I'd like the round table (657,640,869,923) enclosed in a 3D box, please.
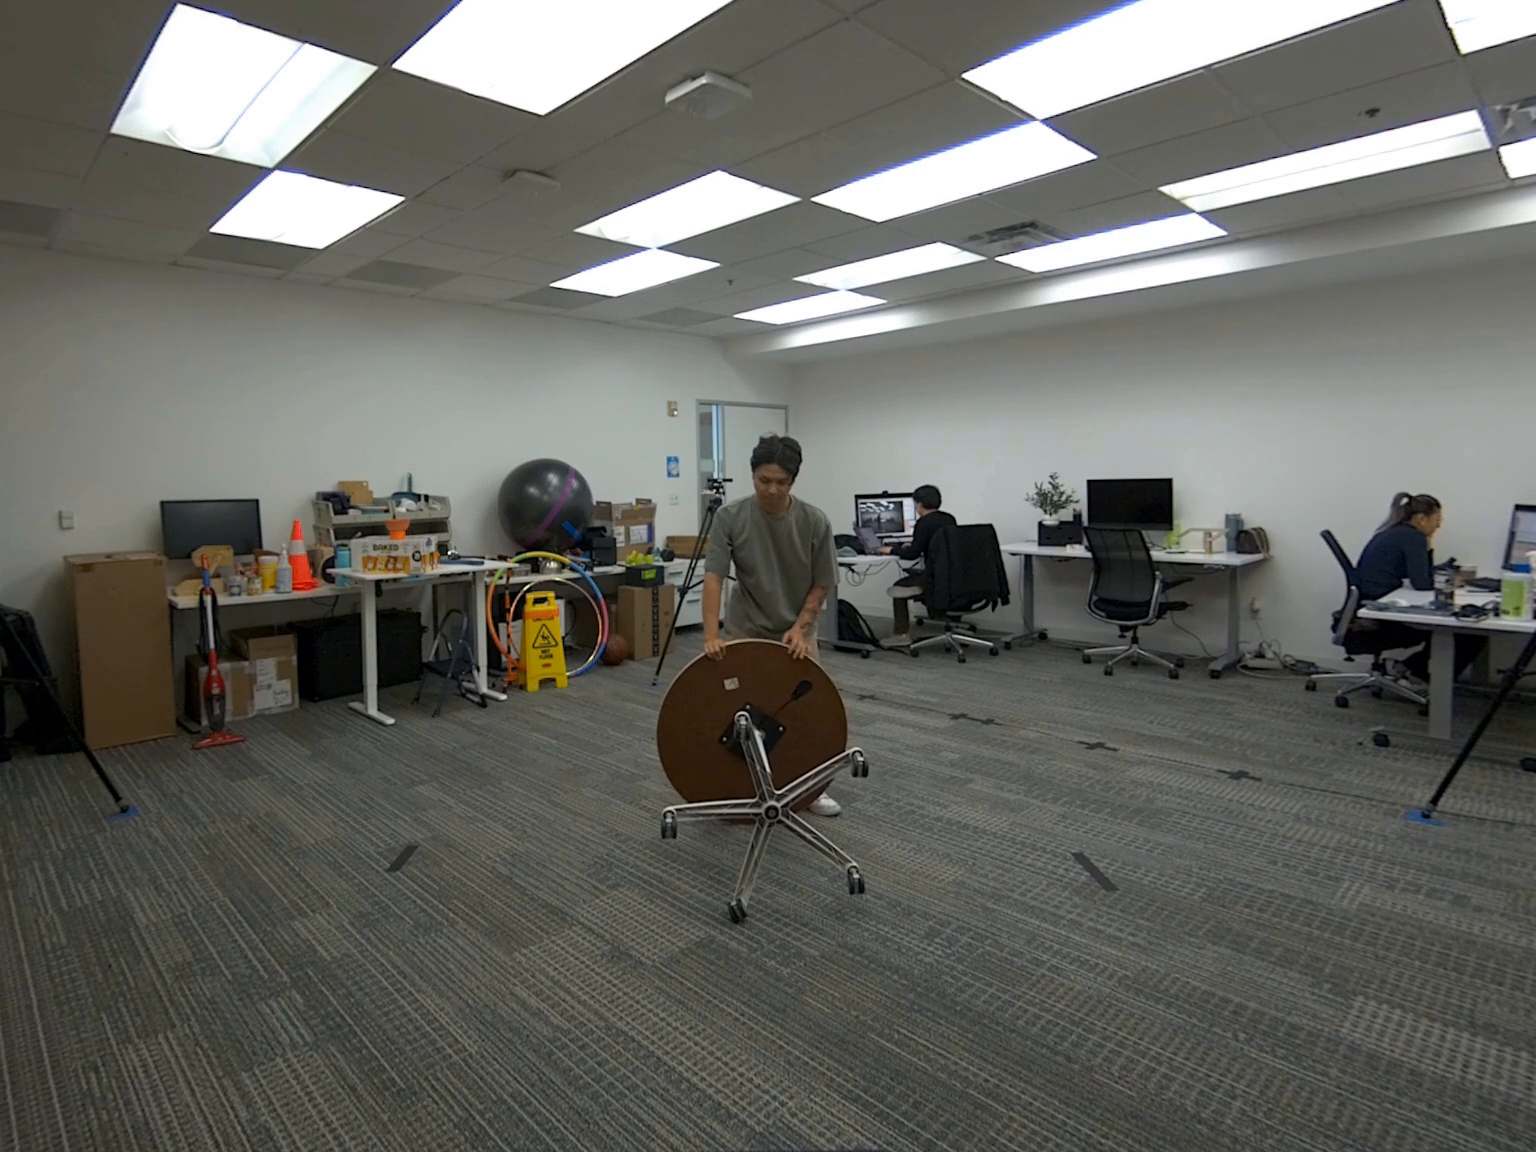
[{"bbox_3d":[-0.014,0.691,3.031,0.781,0.779,0.797,-1,9,-6],"label":"round table"}]
